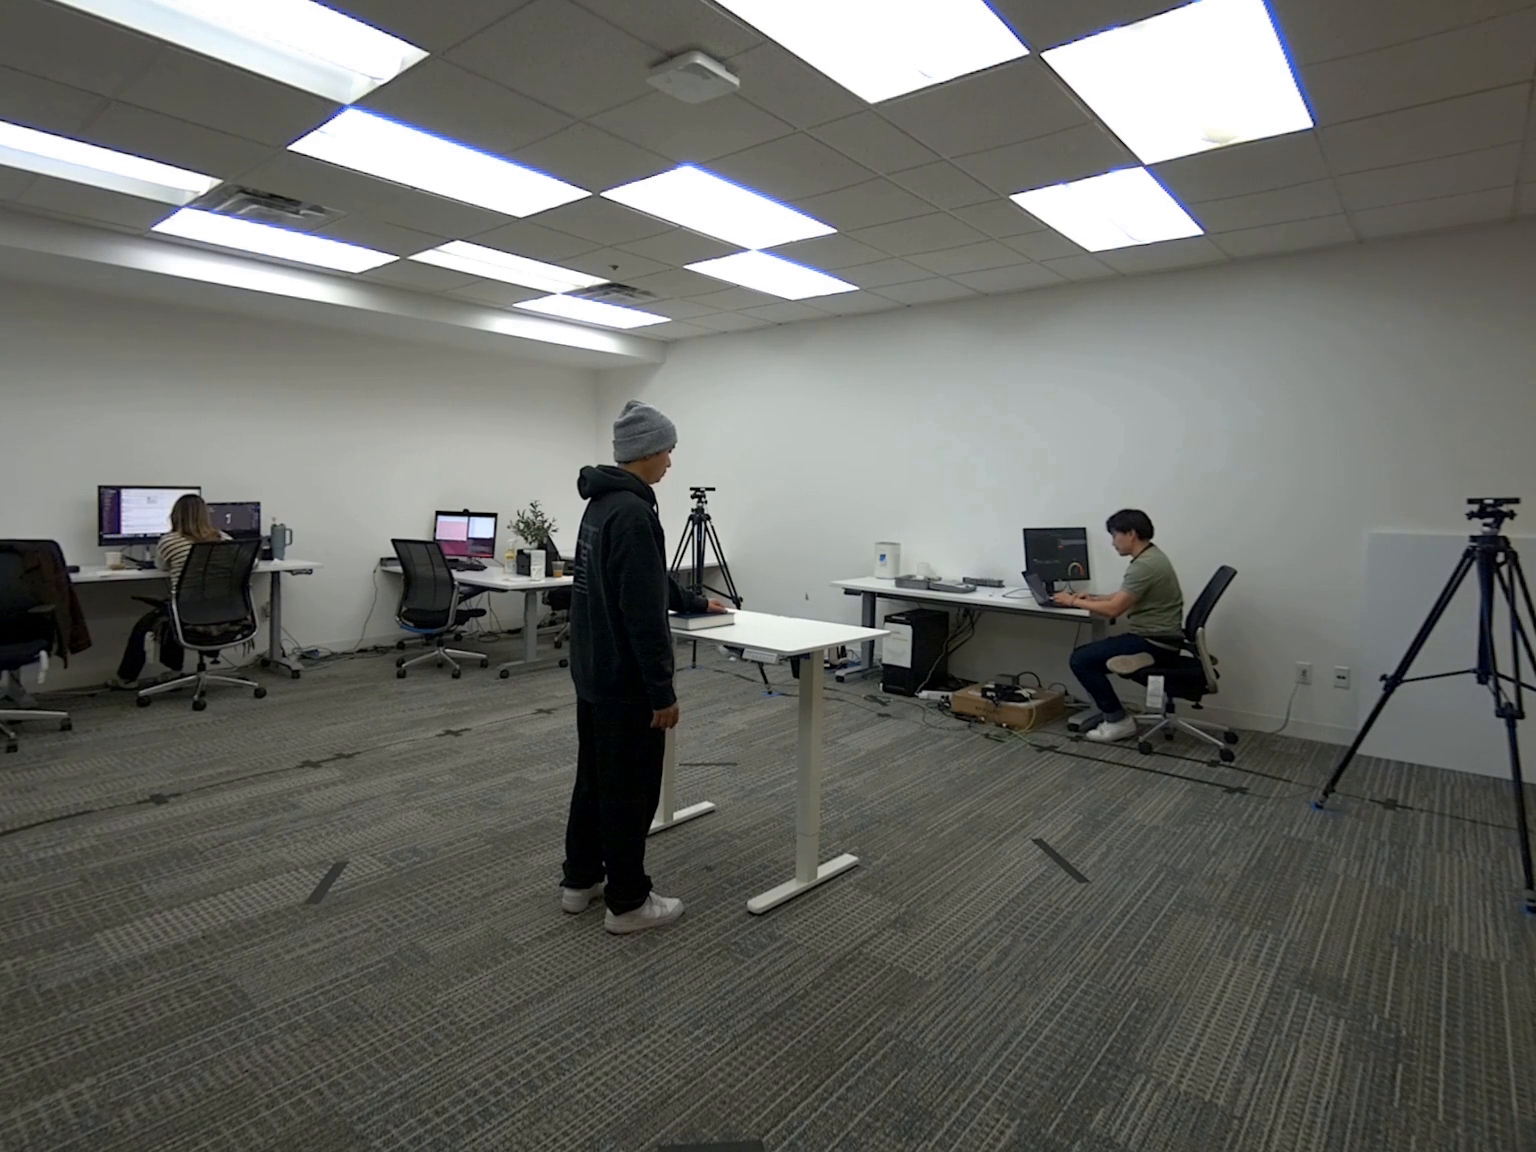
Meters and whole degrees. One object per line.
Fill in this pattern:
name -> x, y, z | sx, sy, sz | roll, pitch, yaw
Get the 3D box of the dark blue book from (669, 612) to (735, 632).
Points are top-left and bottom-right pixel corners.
dark blue book -> -0.265, 0.160, 3.138 | 0.169, 0.045, 0.237 | 4, 5, 43
